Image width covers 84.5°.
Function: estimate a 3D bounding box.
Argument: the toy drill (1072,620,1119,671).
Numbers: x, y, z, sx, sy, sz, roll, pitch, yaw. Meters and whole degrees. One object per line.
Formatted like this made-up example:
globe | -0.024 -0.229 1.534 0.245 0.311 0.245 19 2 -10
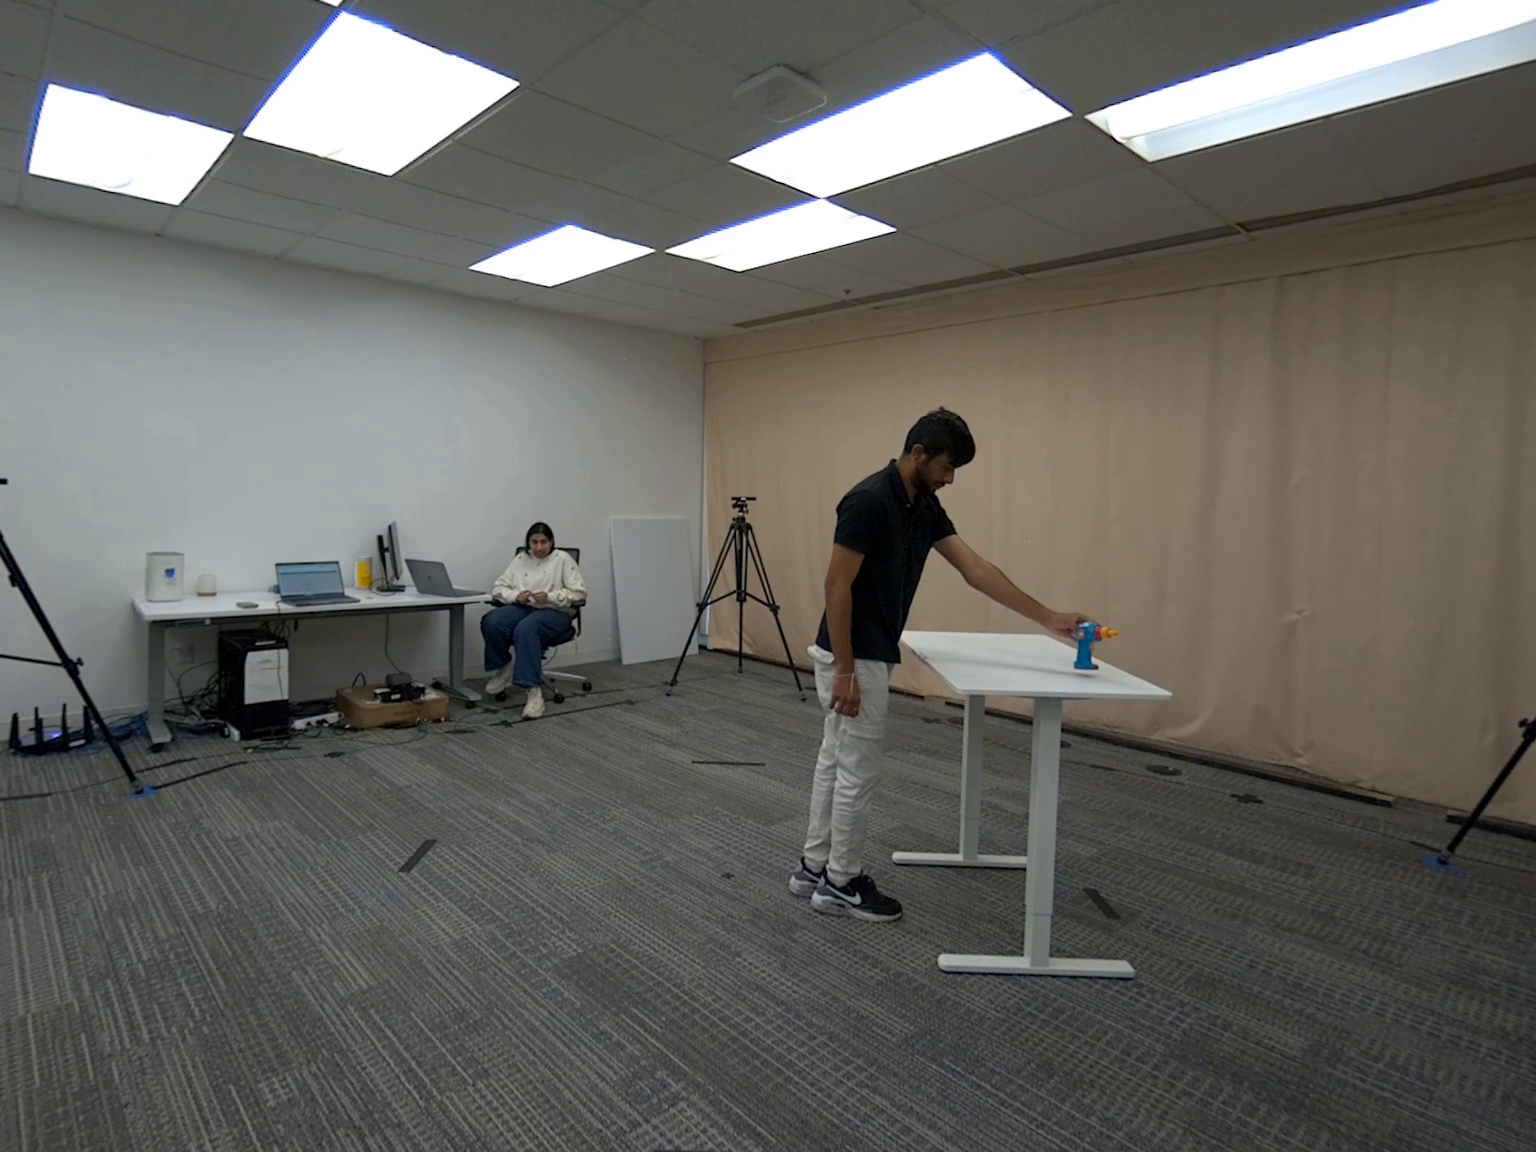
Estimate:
toy drill | 0.972 0.208 2.529 0.060 0.146 0.173 1 -4 -29
